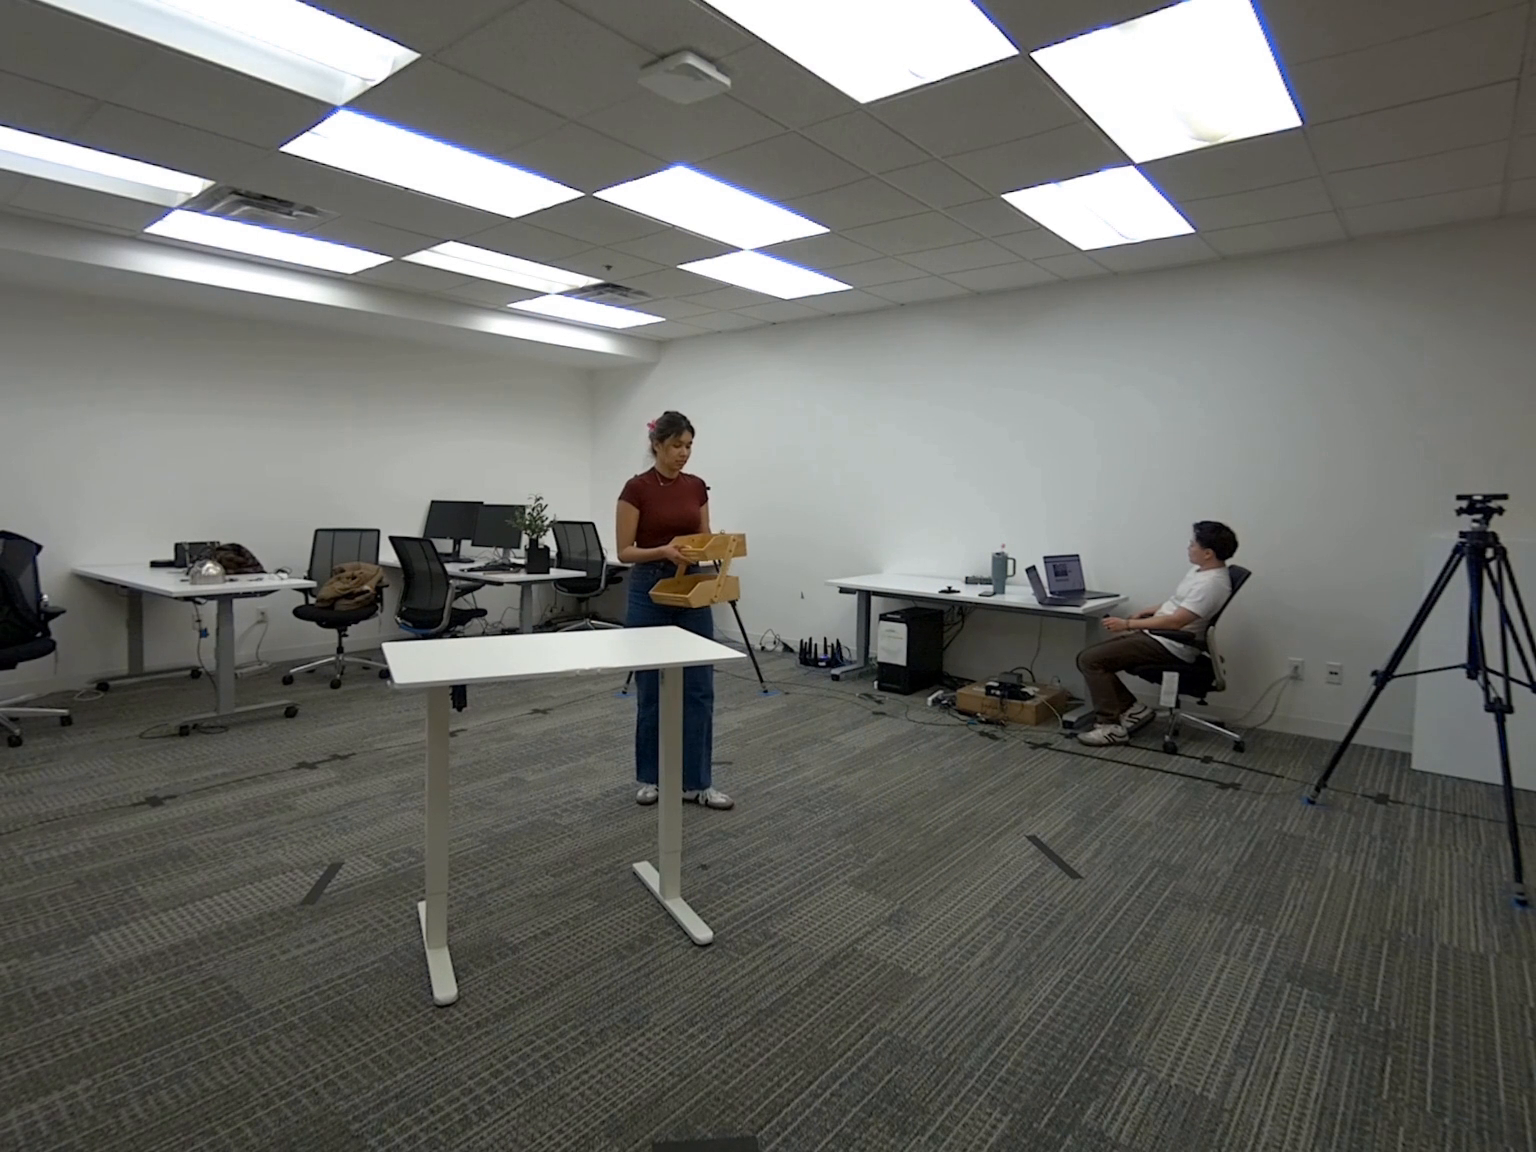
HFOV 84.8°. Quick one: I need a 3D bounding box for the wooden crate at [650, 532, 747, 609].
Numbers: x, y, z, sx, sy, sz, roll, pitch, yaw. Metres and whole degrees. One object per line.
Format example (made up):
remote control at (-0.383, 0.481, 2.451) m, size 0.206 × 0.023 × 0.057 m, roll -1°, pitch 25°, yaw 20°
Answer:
wooden crate at (-0.309, -0.039, 3.479) m, size 0.294 × 0.272 × 0.334 m, roll -7°, pitch 5°, yaw -37°
